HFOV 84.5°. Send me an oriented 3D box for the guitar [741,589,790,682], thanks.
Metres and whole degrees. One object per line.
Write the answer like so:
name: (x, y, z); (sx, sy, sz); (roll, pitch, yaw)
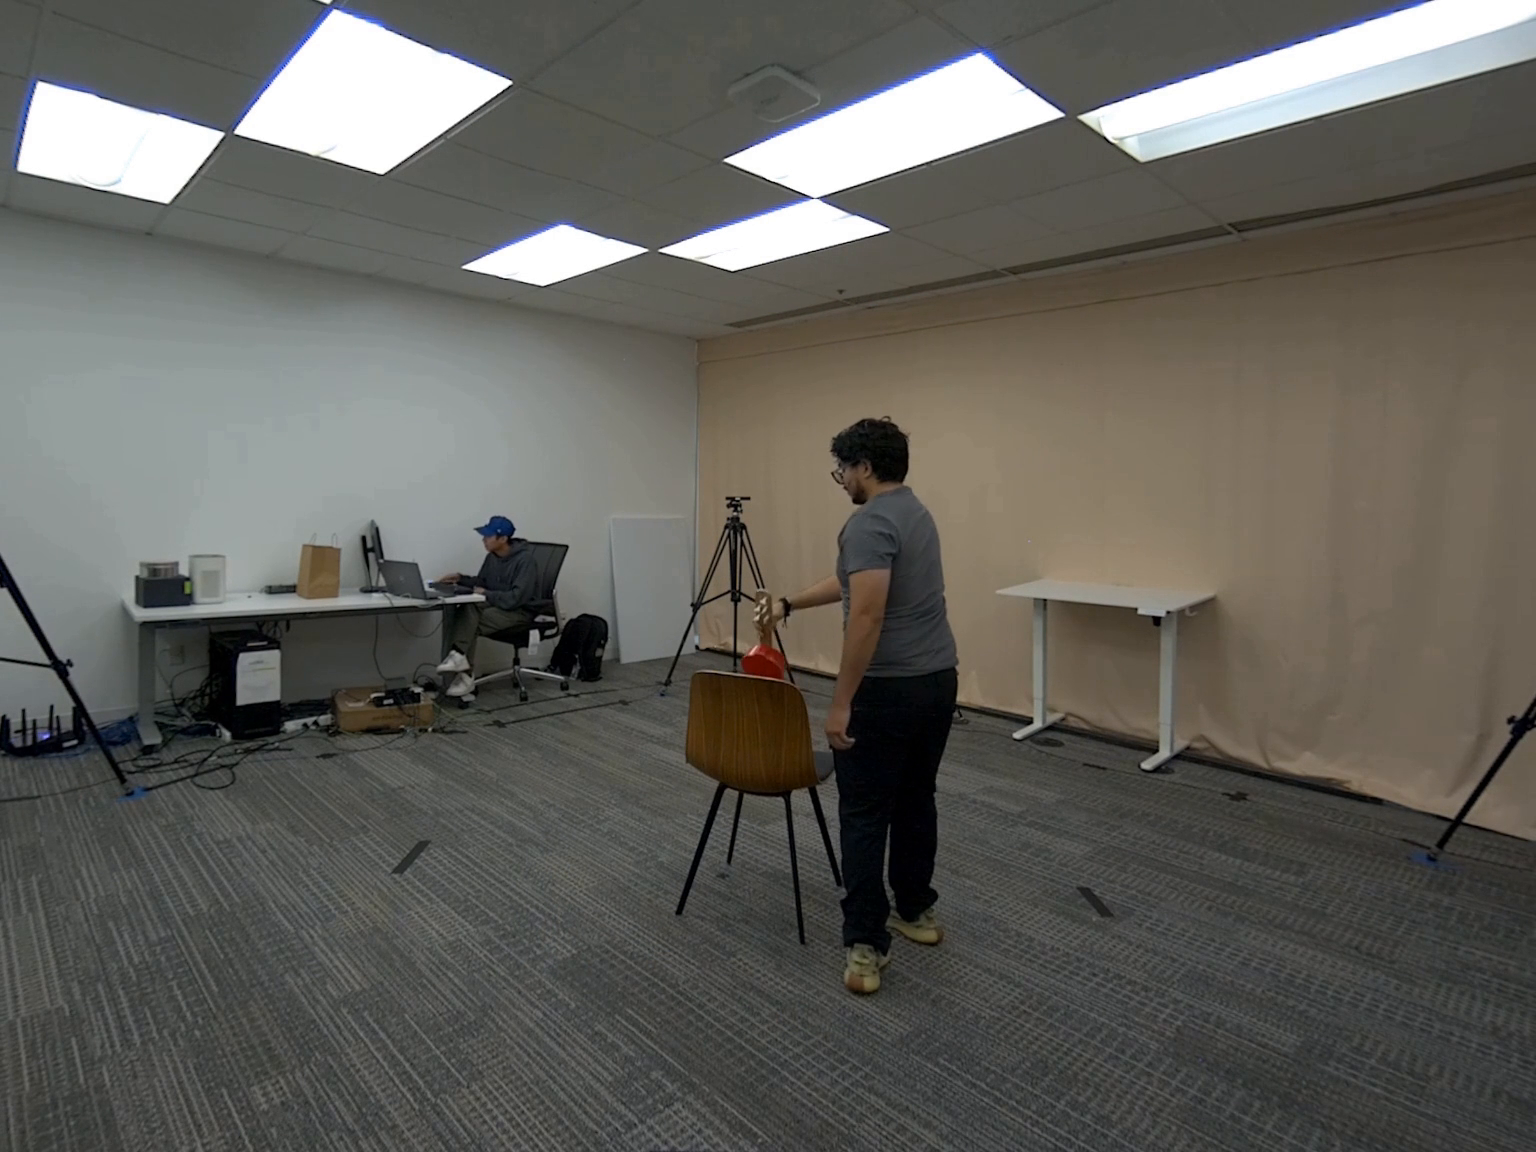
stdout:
guitar: (-0.033, 0.255, 2.867); (0.197, 0.487, 0.071); (4, 32, 27)
